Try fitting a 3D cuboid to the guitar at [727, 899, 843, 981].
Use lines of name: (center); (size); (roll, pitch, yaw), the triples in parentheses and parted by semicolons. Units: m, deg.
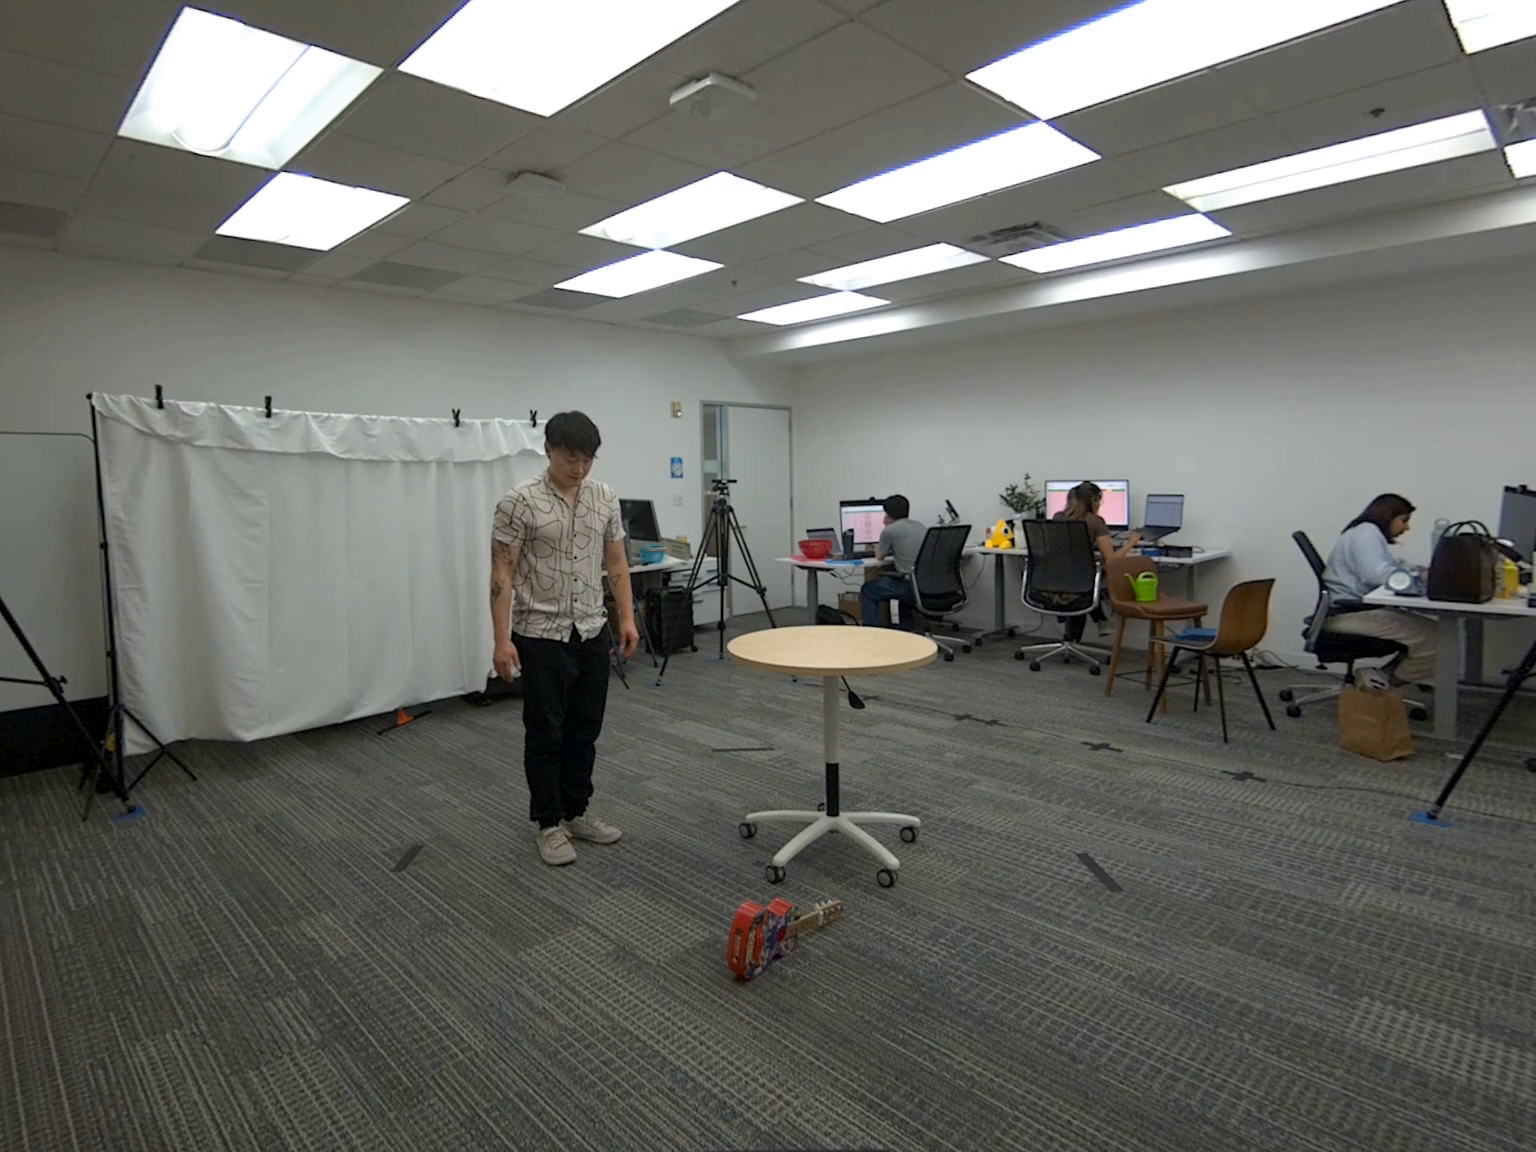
guitar: (0.056, 1.063, 2.549); (0.073, 0.194, 0.480); (7, -8, 39)
